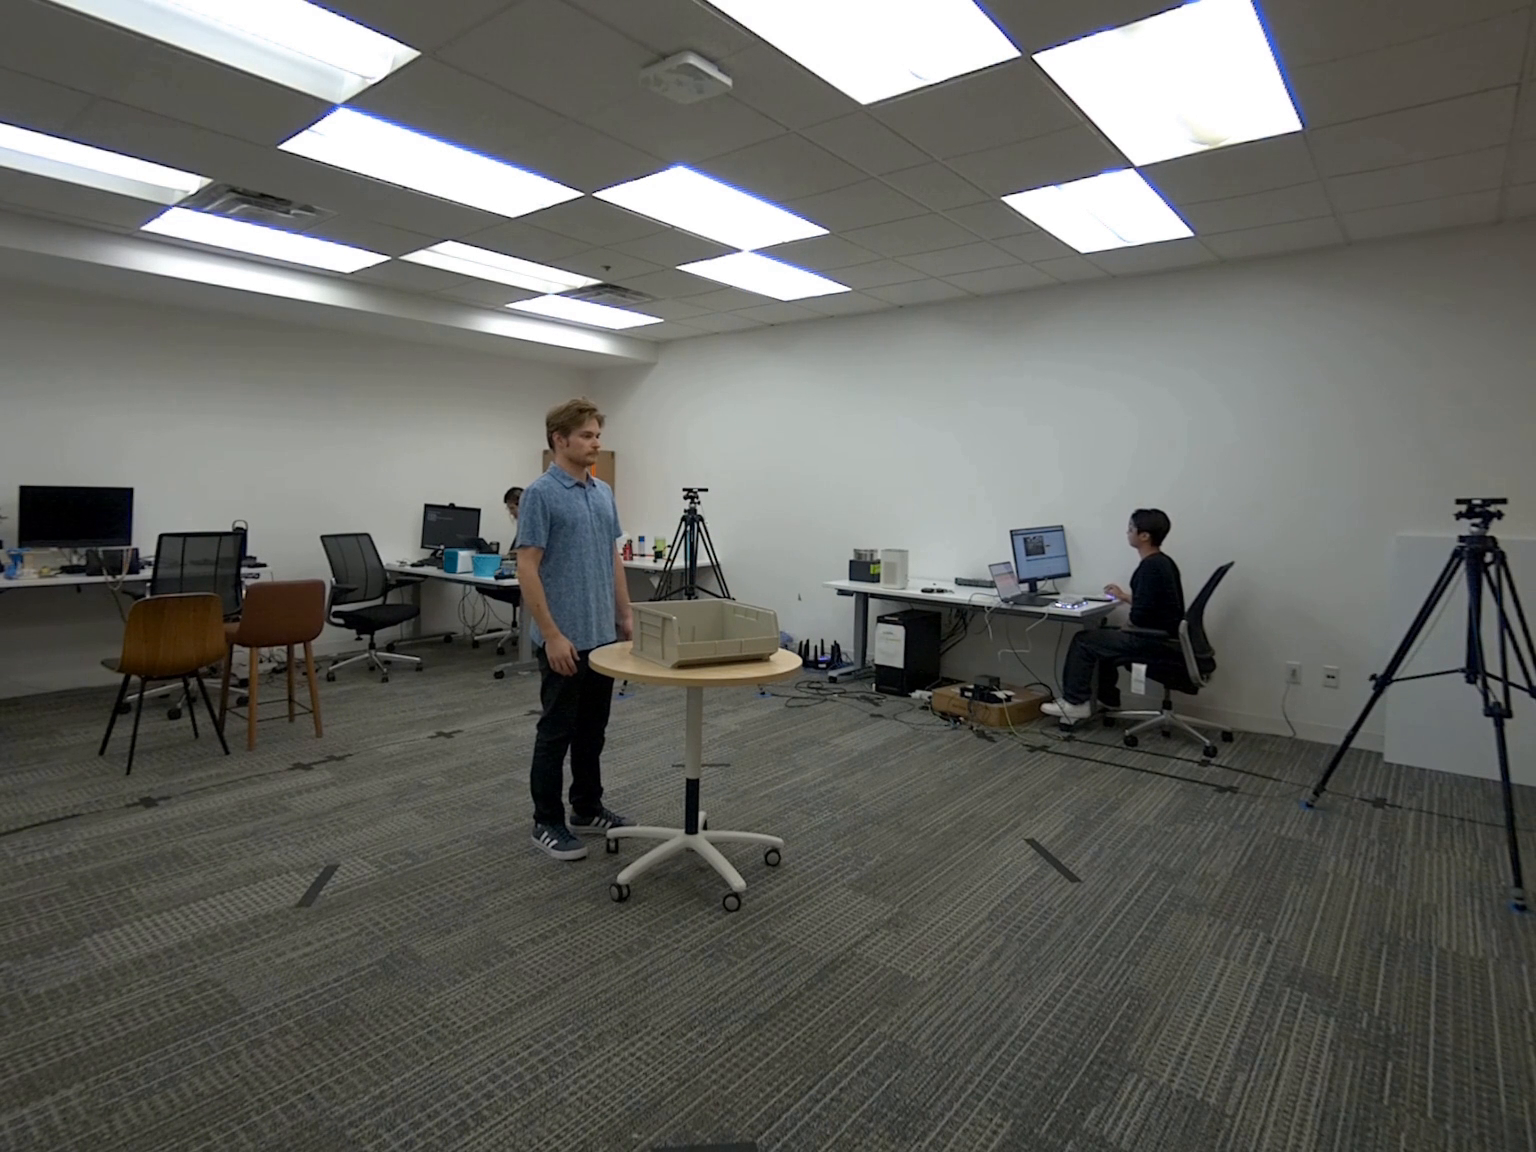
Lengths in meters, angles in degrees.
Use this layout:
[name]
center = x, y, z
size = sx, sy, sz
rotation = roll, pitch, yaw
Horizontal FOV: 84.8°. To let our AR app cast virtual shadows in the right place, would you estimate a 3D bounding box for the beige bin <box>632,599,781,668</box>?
[beige bin]
center = -0.248, 0.197, 3.060
size = 0.411, 0.188, 0.389
rotation = -2, 5, -32
